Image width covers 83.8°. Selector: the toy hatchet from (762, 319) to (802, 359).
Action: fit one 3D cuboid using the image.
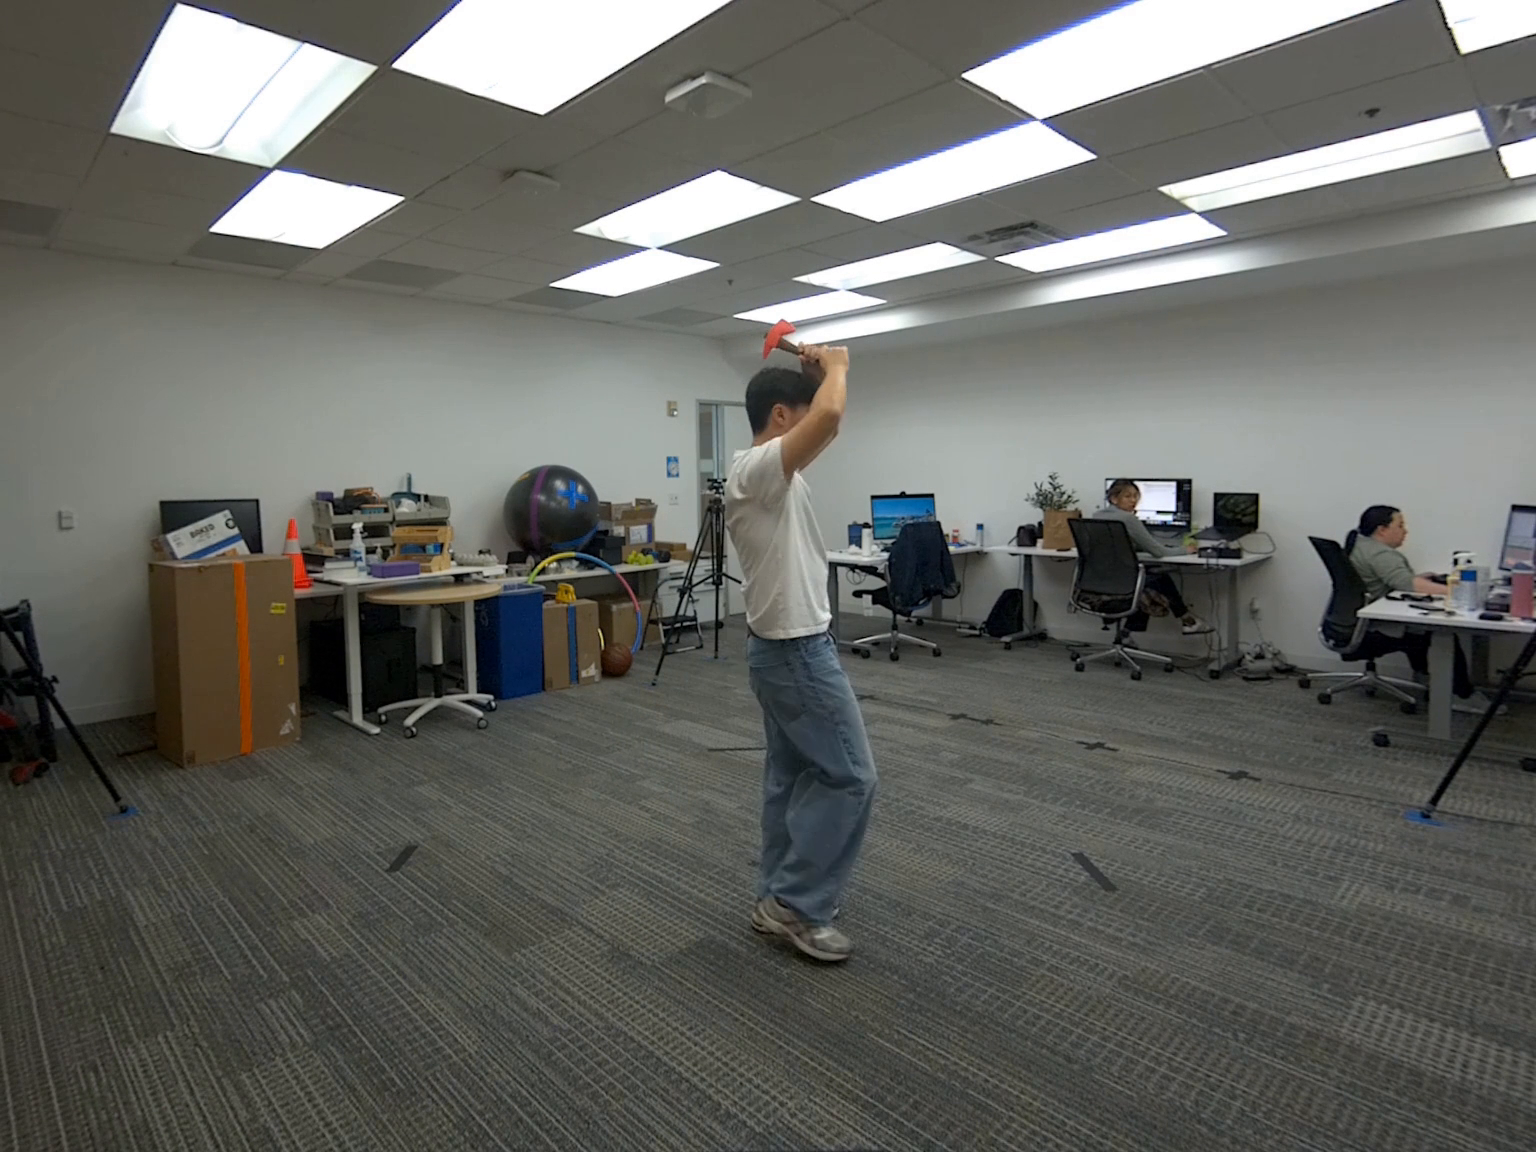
[{"bbox_3d":[0.120,-0.717,2.594,0.275,0.131,0.029,8,0,19],"label":"toy hatchet"}]
